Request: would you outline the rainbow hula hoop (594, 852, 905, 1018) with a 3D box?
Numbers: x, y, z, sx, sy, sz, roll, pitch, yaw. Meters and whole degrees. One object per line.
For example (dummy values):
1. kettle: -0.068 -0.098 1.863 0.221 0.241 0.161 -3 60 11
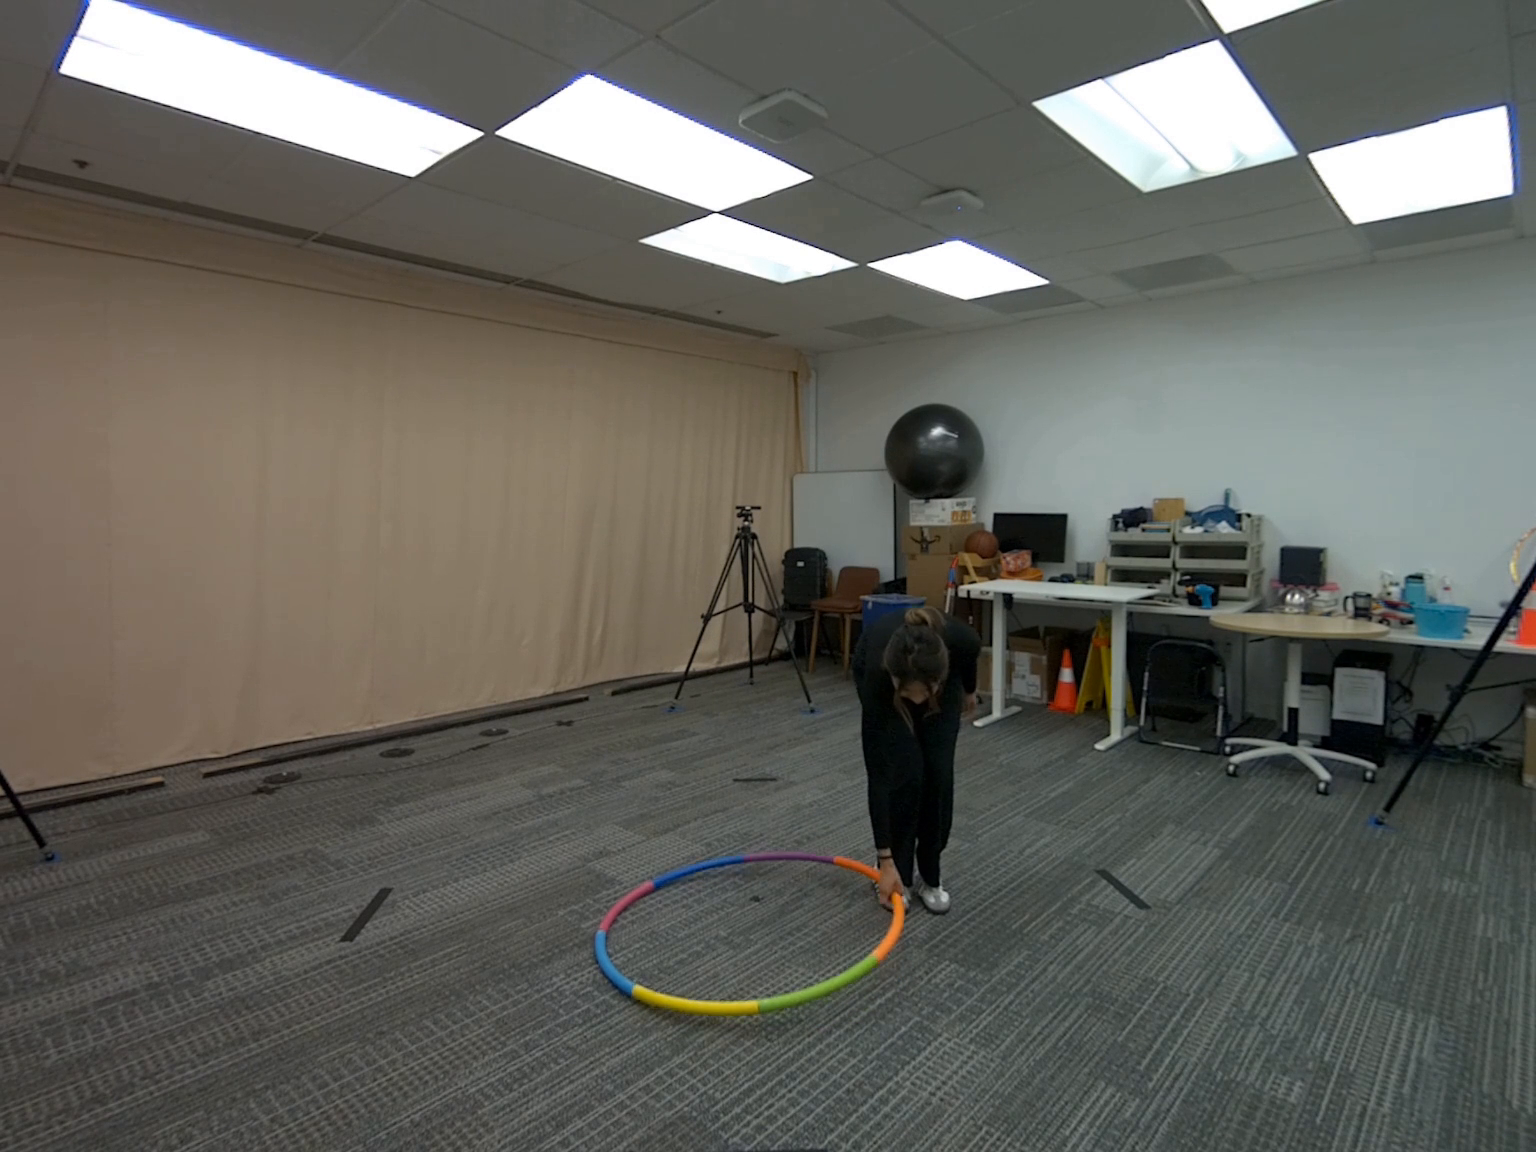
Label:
1. rainbow hula hoop: -0.065 1.090 2.710 0.985 0.051 0.989 -7 5 -1
